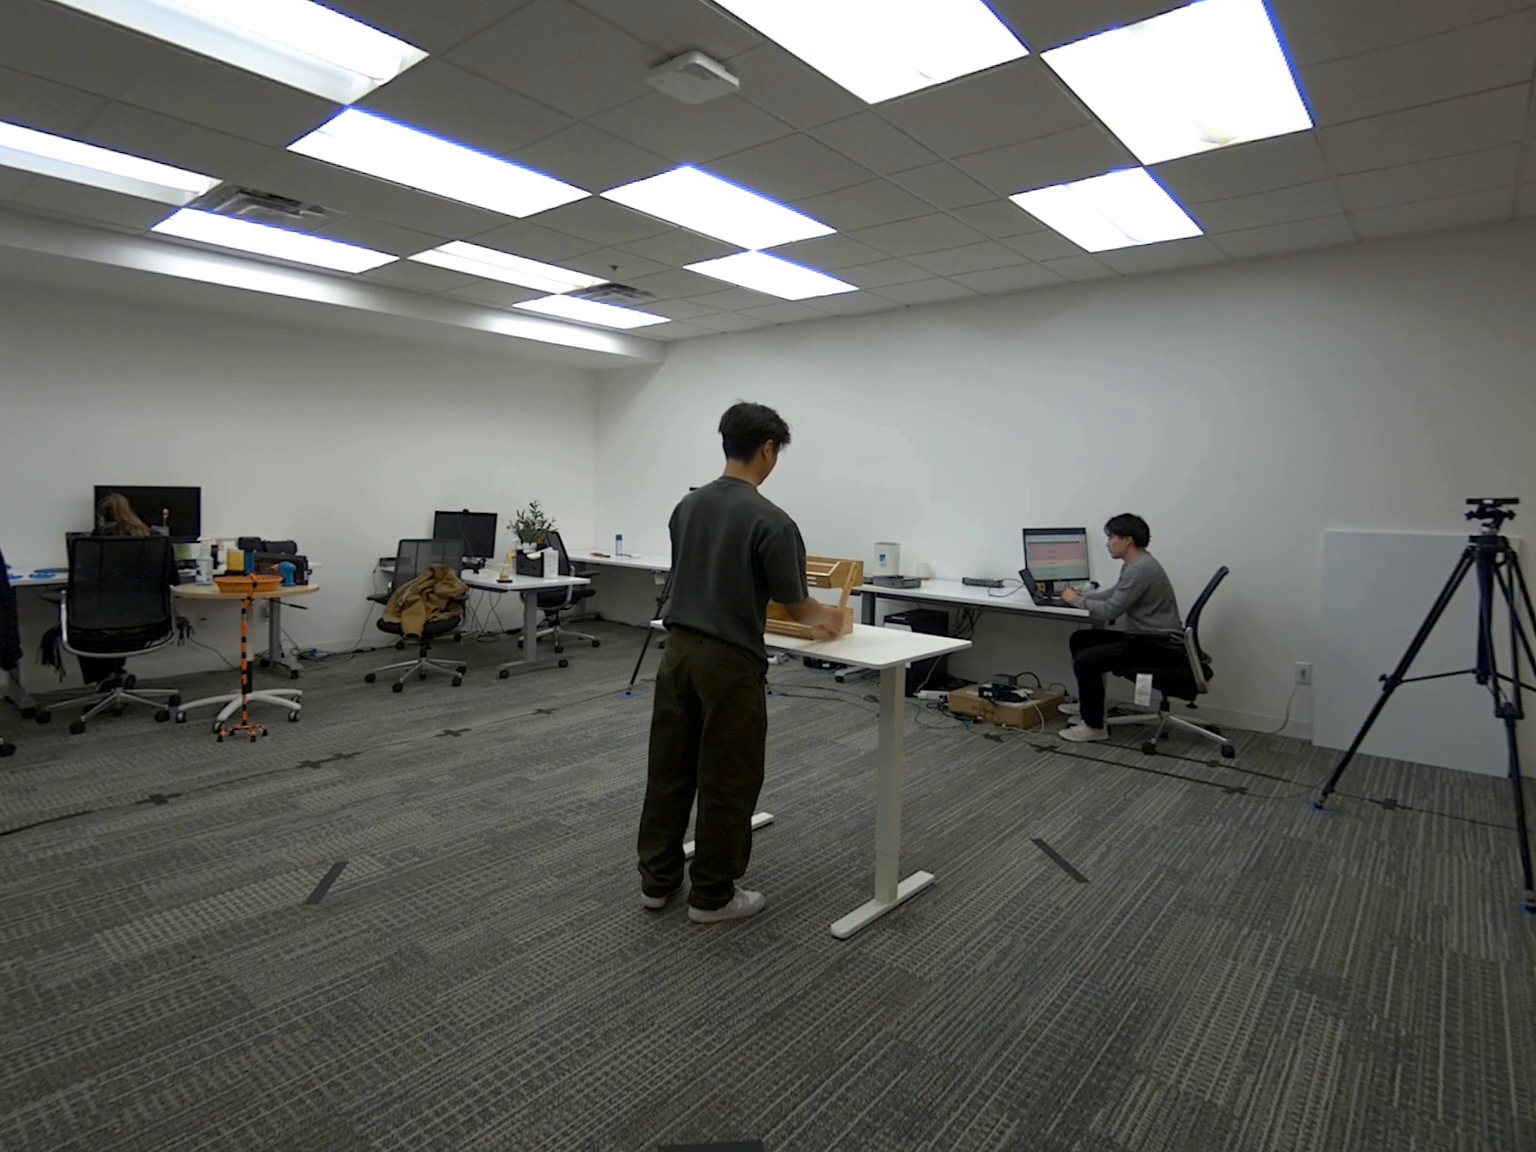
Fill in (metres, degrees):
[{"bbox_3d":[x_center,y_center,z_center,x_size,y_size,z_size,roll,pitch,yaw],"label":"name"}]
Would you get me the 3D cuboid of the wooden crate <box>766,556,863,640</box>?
[{"bbox_3d":[0.119,0.066,3.065,0.335,0.272,0.293,6,6,40],"label":"wooden crate"}]
